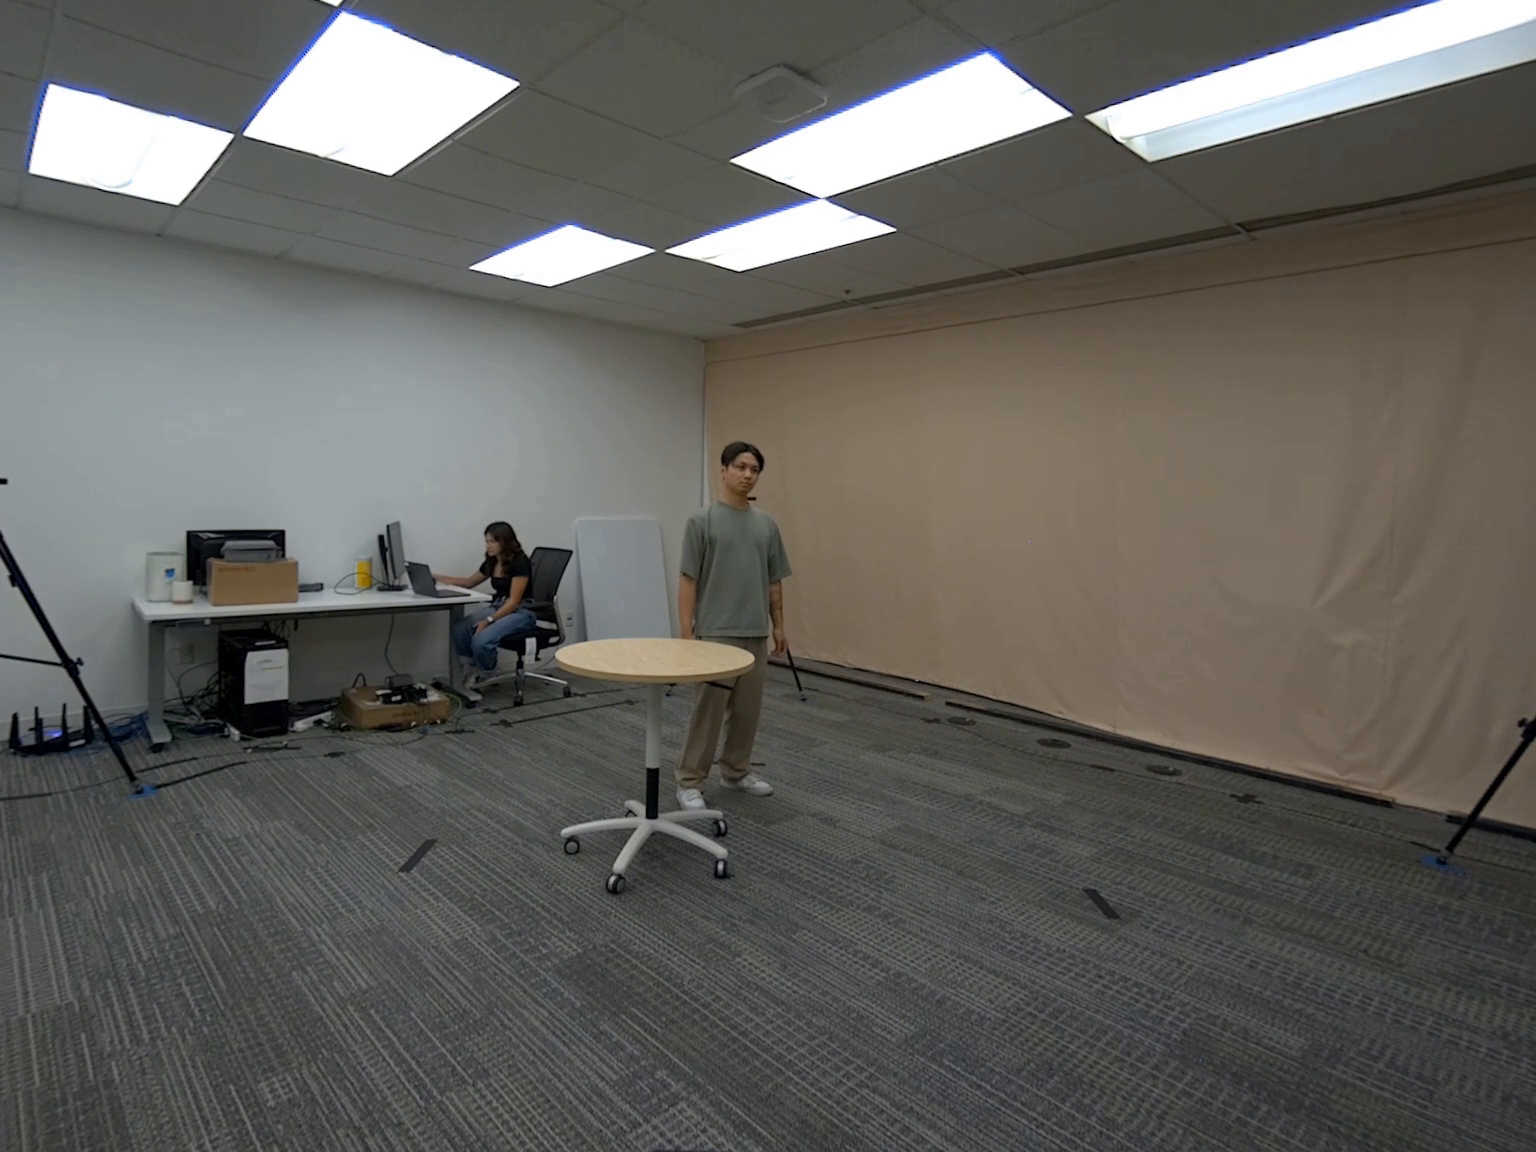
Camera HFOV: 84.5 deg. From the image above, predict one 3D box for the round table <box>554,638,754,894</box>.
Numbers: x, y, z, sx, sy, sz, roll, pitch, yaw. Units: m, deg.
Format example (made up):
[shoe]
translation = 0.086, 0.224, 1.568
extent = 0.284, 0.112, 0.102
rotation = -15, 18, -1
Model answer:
[round table]
translation = -0.463, 0.700, 3.271
extent = 0.763, 0.792, 0.766
rotation = 1, 4, -1
